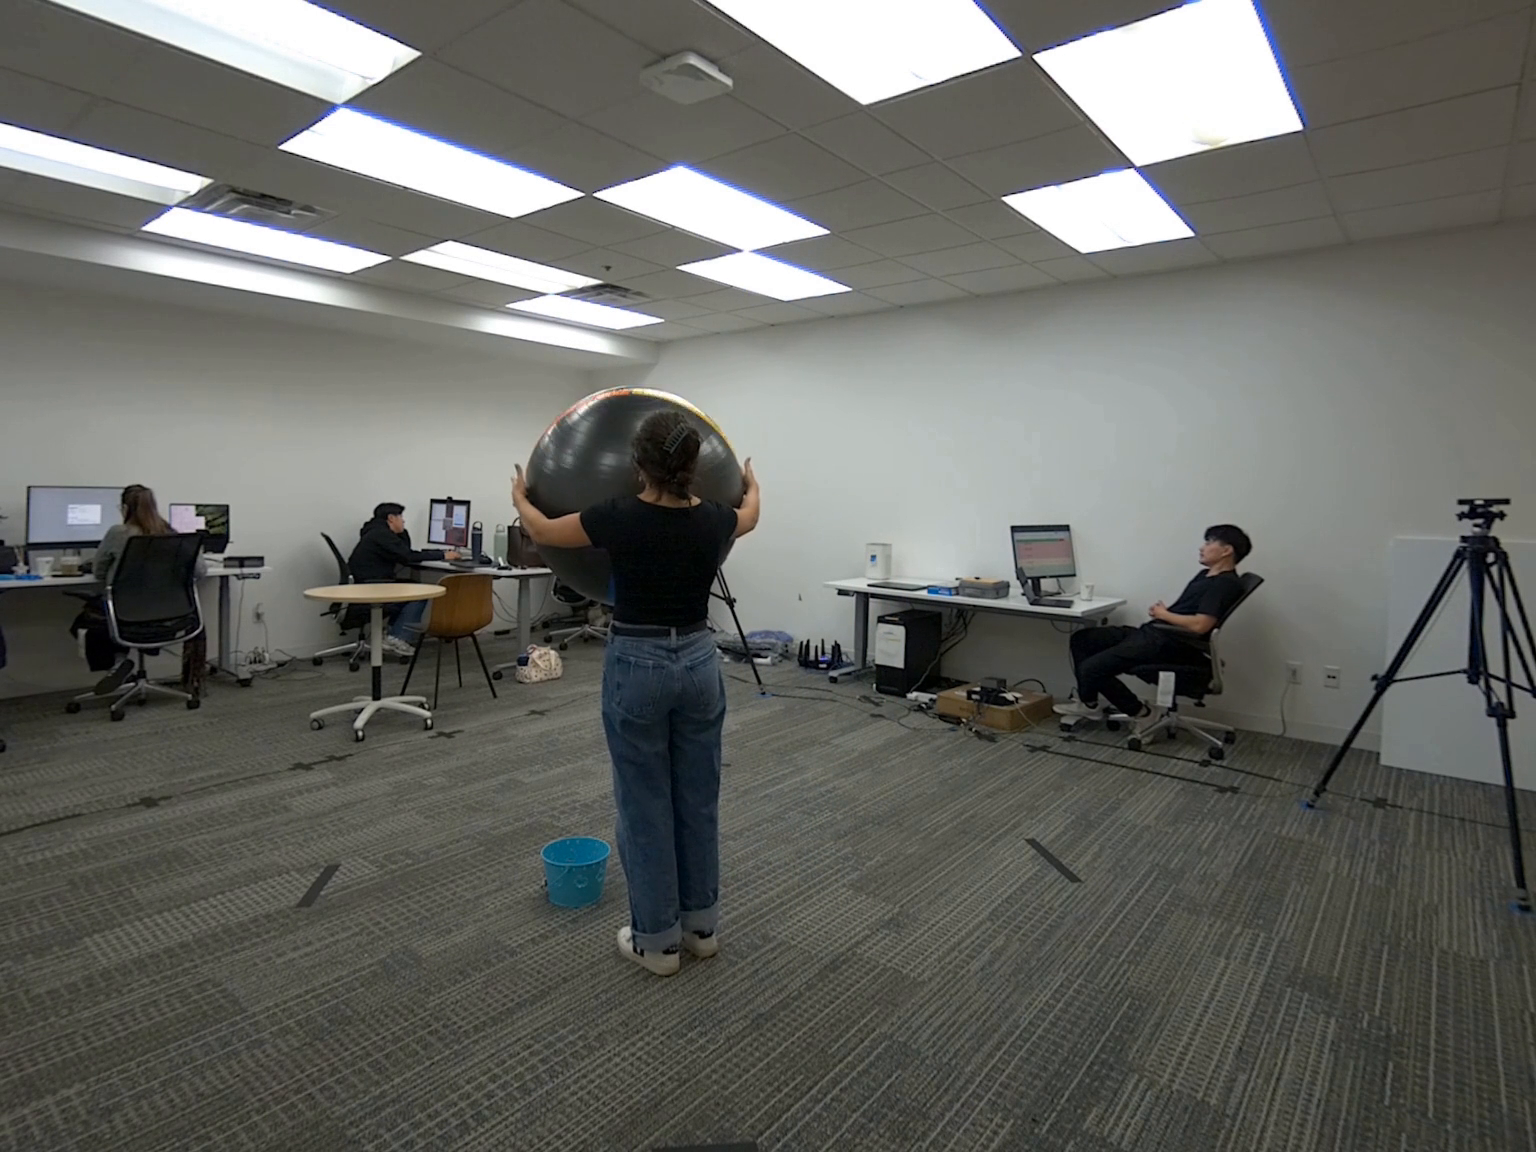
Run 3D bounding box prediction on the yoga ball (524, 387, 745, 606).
[{"bbox_3d":[-0.481,-0.277,2.951,0.757,0.755,0.762,1,4,-2],"label":"yoga ball"}]
